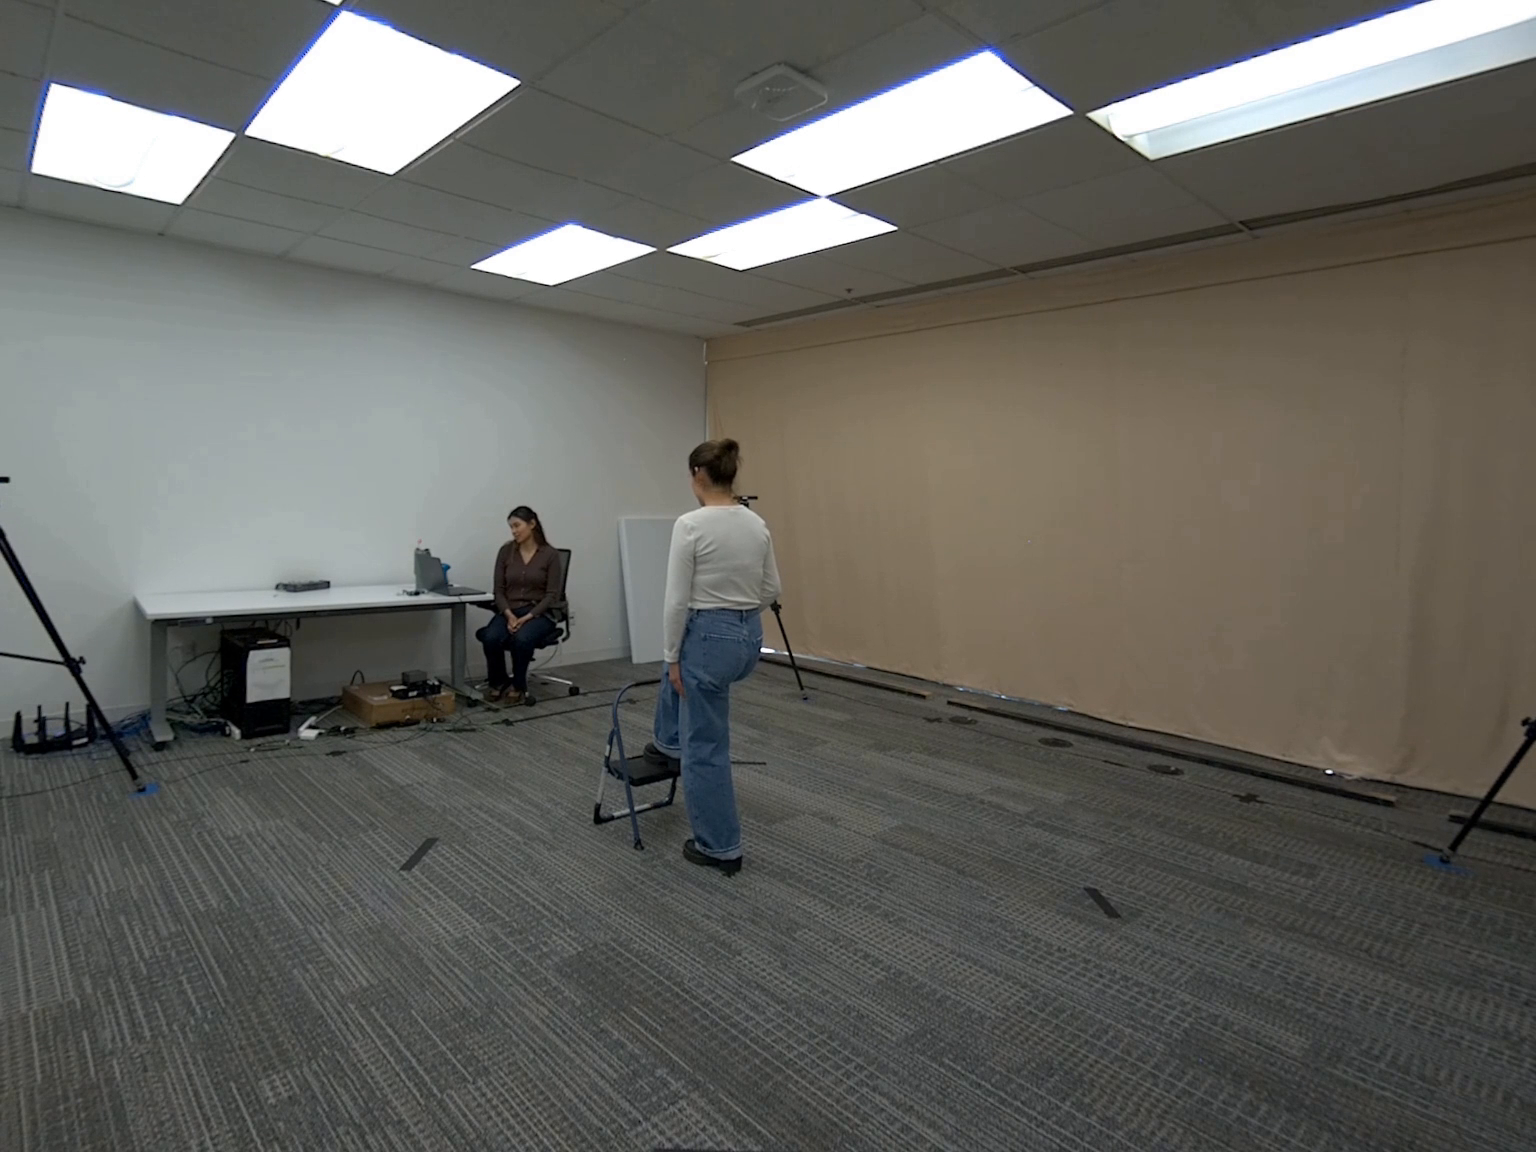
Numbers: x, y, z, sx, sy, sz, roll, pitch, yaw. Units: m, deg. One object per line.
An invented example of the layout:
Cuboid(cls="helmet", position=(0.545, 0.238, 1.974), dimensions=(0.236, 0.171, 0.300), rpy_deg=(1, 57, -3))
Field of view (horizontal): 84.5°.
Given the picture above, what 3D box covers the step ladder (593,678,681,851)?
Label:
Cuboid(cls="step ladder", position=(-0.475, 0.754, 3.556), dimensions=(0.420, 0.605, 0.358), rpy_deg=(-1, 4, -44))
